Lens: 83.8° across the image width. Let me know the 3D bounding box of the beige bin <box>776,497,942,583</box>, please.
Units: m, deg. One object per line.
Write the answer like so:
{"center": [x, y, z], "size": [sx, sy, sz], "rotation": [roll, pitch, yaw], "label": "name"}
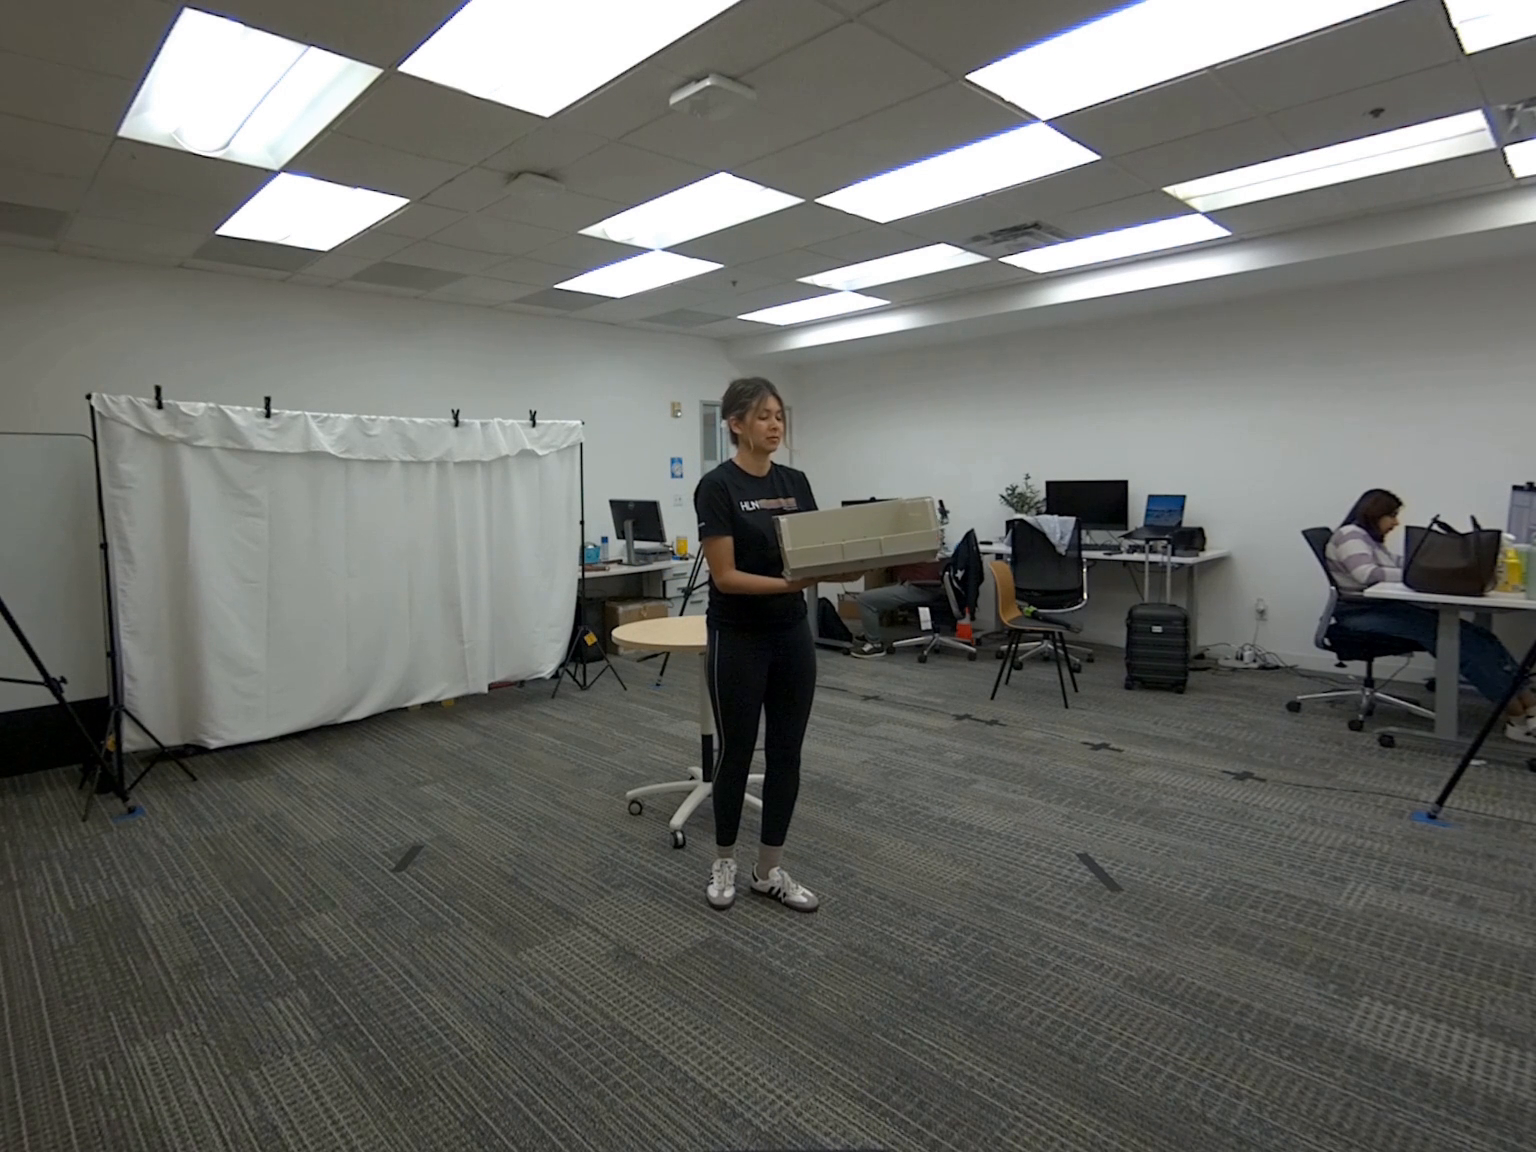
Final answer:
{"center": [0.257, -0.109, 2.444], "size": [0.423, 0.189, 0.377], "rotation": [-7, 2, 1], "label": "beige bin"}
